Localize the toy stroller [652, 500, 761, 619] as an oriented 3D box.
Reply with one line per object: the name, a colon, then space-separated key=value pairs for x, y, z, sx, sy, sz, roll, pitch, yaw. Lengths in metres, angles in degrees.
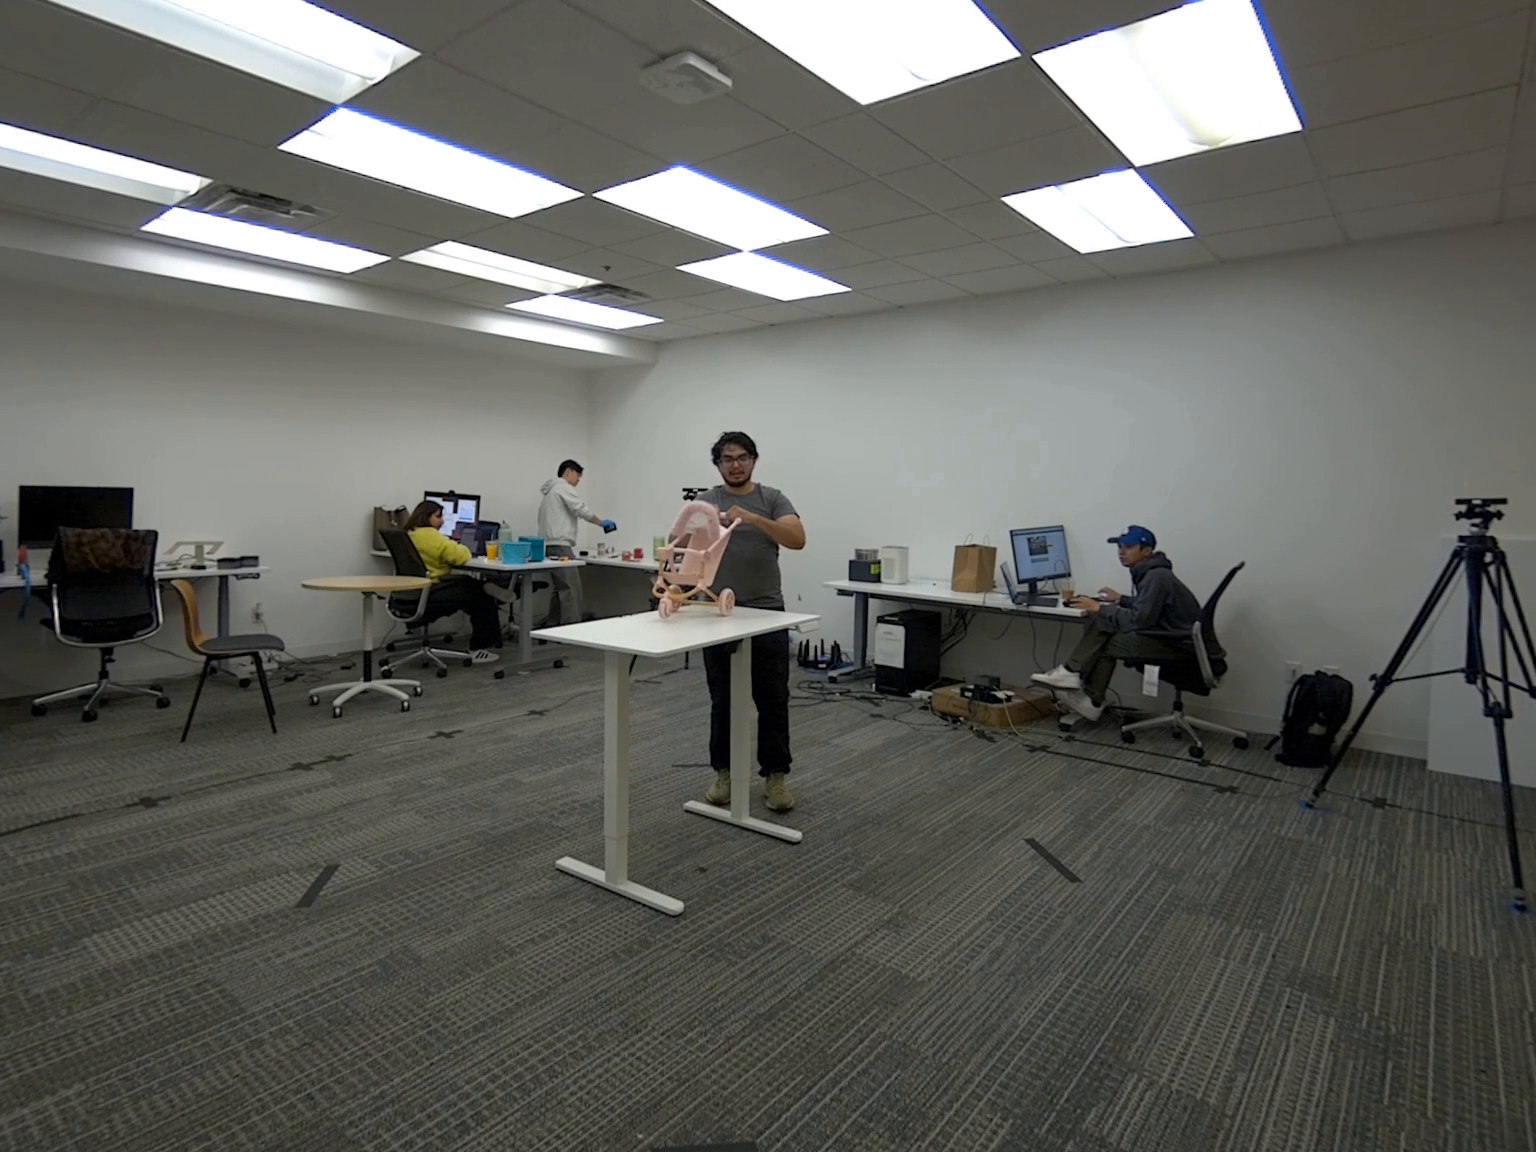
toy stroller: x=-0.311 y=-0.069 z=3.399 sx=0.290 sy=0.540 sz=0.328 roll=2 pitch=-15 yaw=32
